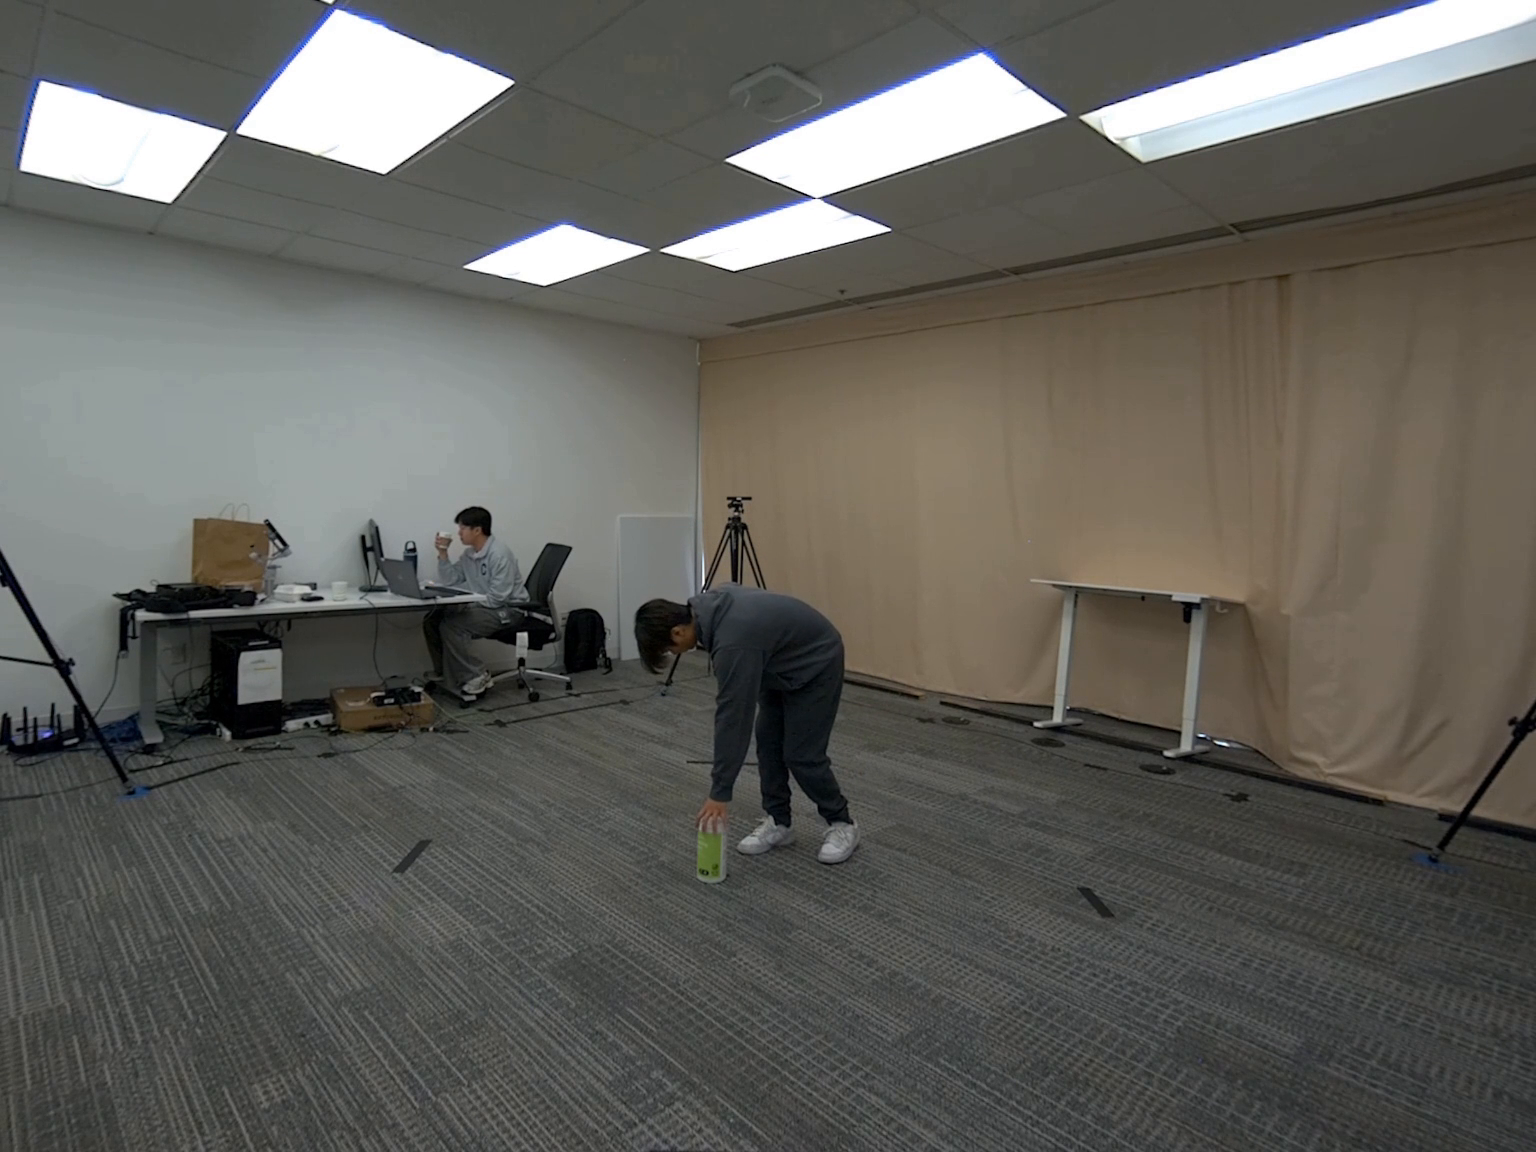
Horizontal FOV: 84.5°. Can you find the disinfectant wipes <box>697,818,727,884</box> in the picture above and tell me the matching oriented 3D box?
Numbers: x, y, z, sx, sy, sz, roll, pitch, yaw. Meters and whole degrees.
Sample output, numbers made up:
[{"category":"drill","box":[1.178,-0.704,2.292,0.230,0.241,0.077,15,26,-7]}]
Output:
[{"category":"disinfectant wipes","box":[-0.210,1.003,3.085,0.118,0.217,0.118,0,3,-1]}]
